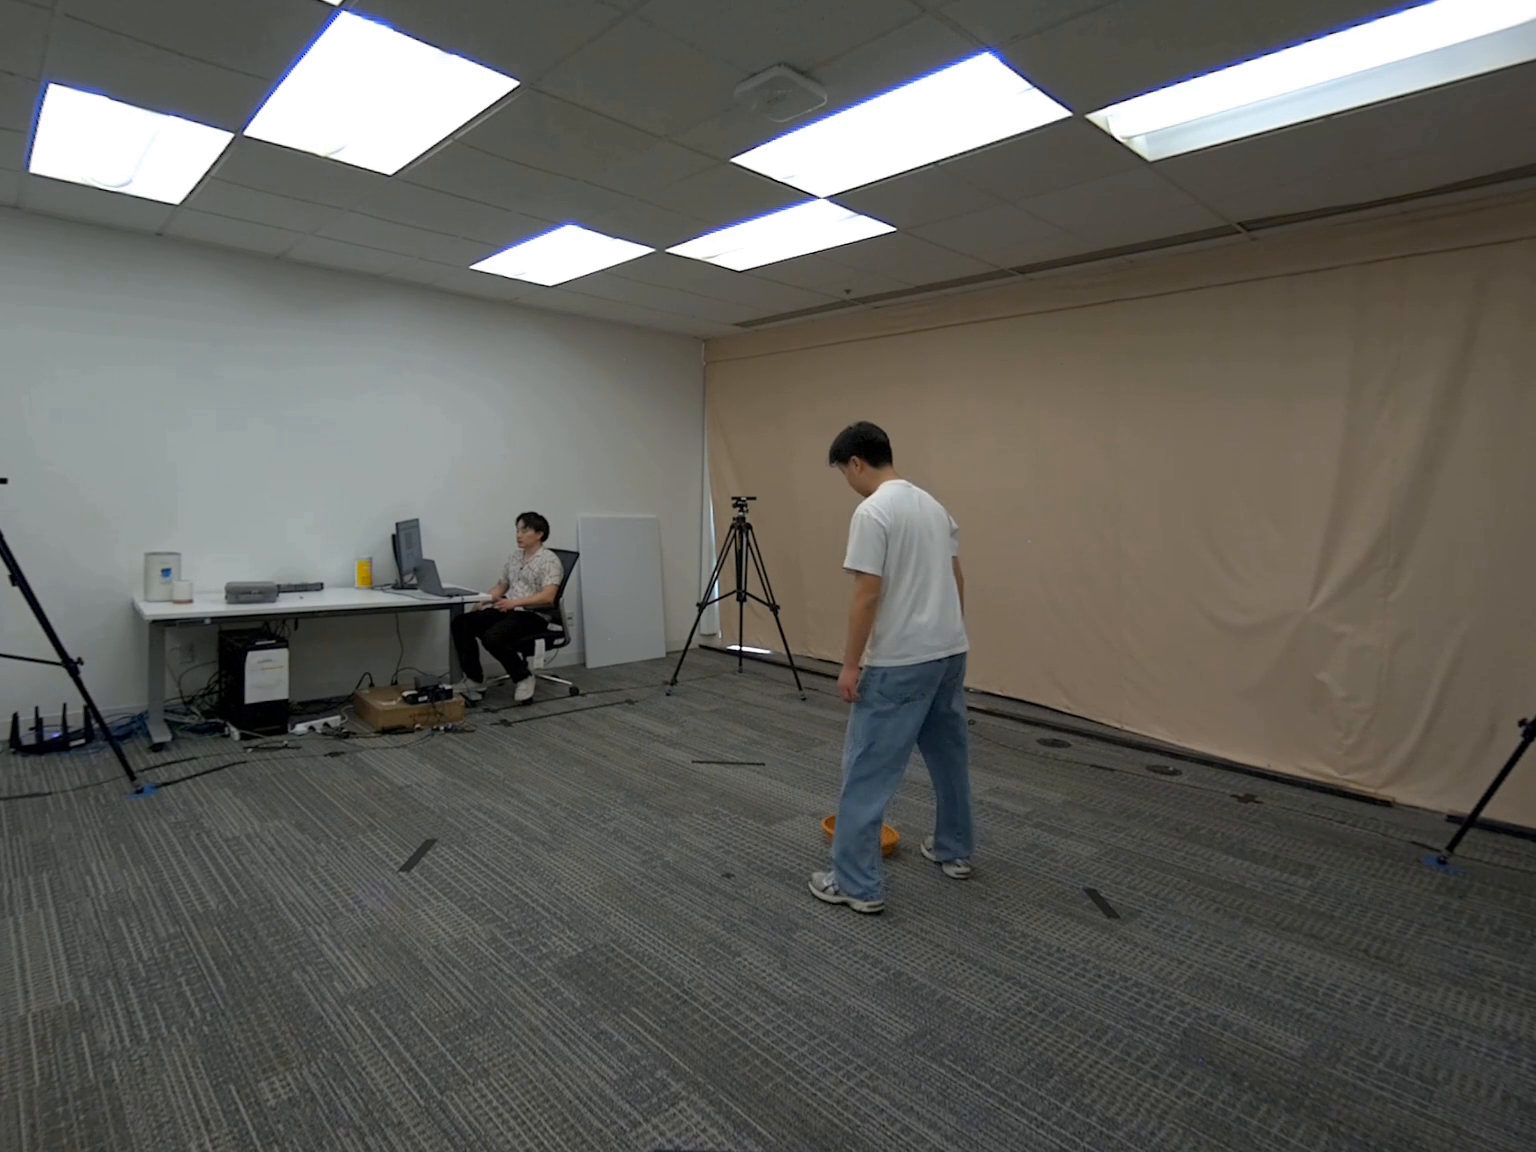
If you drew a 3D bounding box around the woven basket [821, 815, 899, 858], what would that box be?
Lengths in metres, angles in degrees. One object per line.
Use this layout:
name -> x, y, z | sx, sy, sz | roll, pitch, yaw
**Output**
woven basket -> 0.361, 1.055, 3.403 | 0.247, 0.073, 0.358 | -2, 6, -31
